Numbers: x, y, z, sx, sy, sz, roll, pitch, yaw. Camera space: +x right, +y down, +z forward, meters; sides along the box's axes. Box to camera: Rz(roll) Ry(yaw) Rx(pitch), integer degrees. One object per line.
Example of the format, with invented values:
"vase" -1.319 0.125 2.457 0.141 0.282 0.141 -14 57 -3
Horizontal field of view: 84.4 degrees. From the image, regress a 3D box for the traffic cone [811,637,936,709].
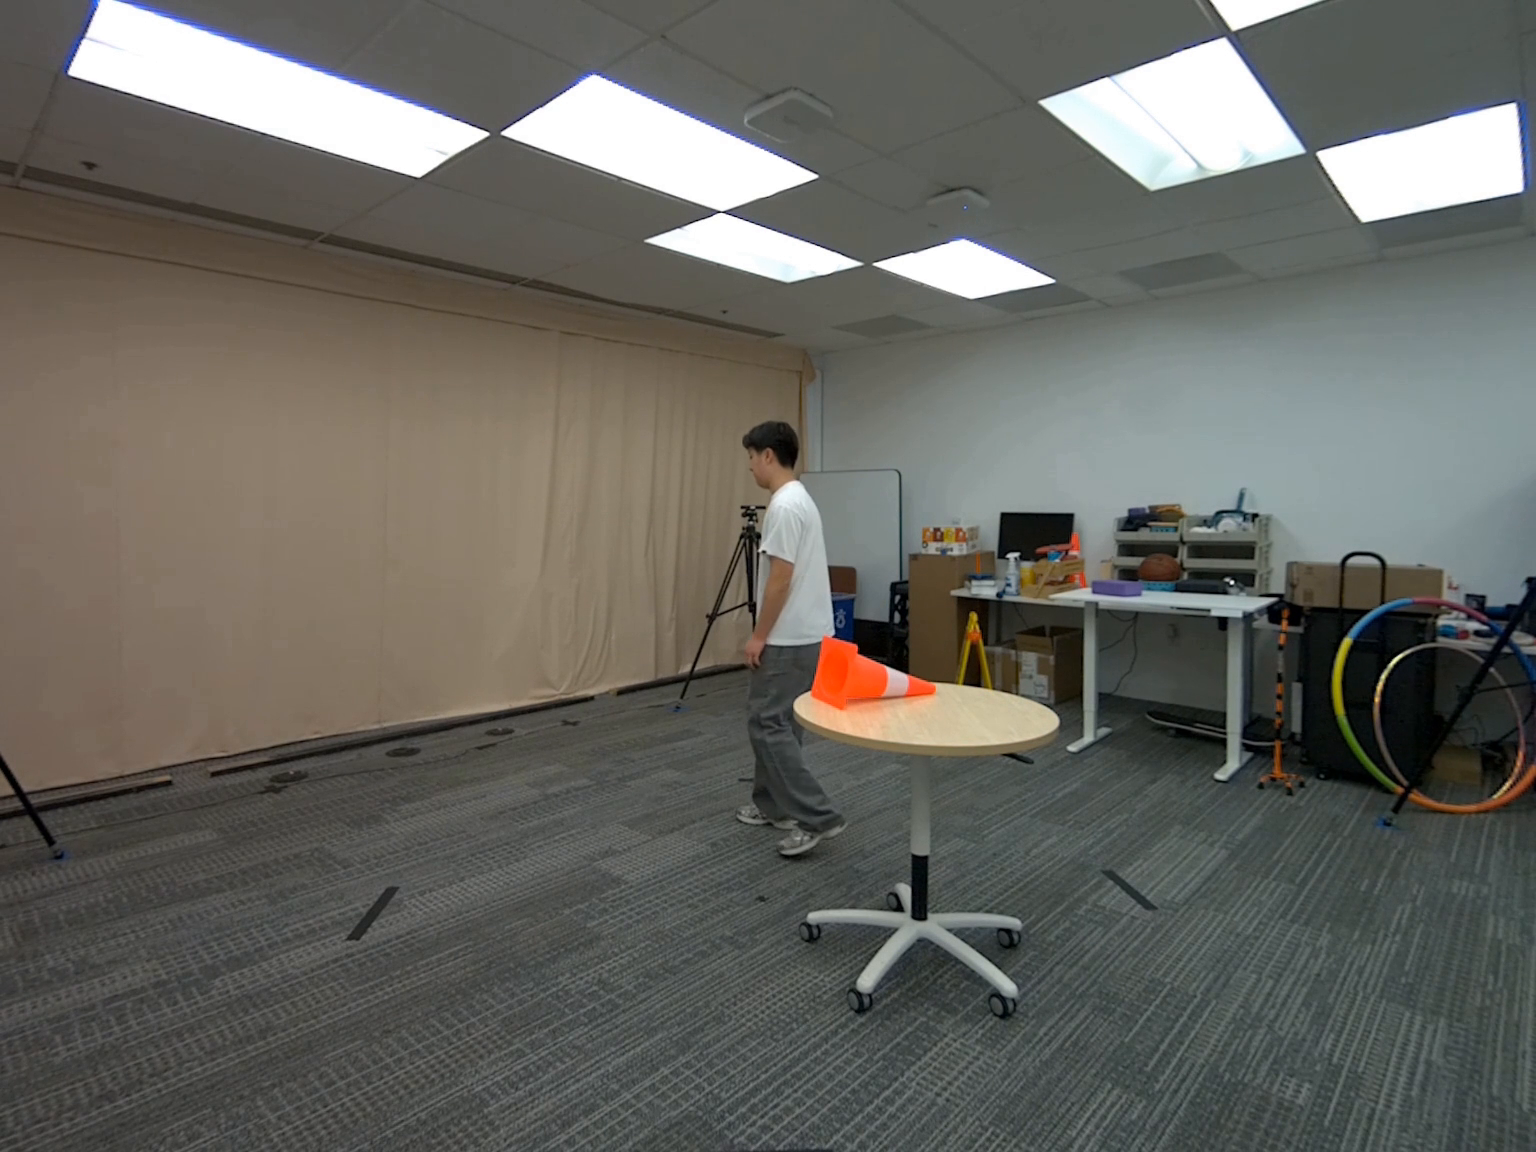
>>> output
"traffic cone" 0.375 0.329 2.654 0.374 0.205 0.208 12 0 -23
